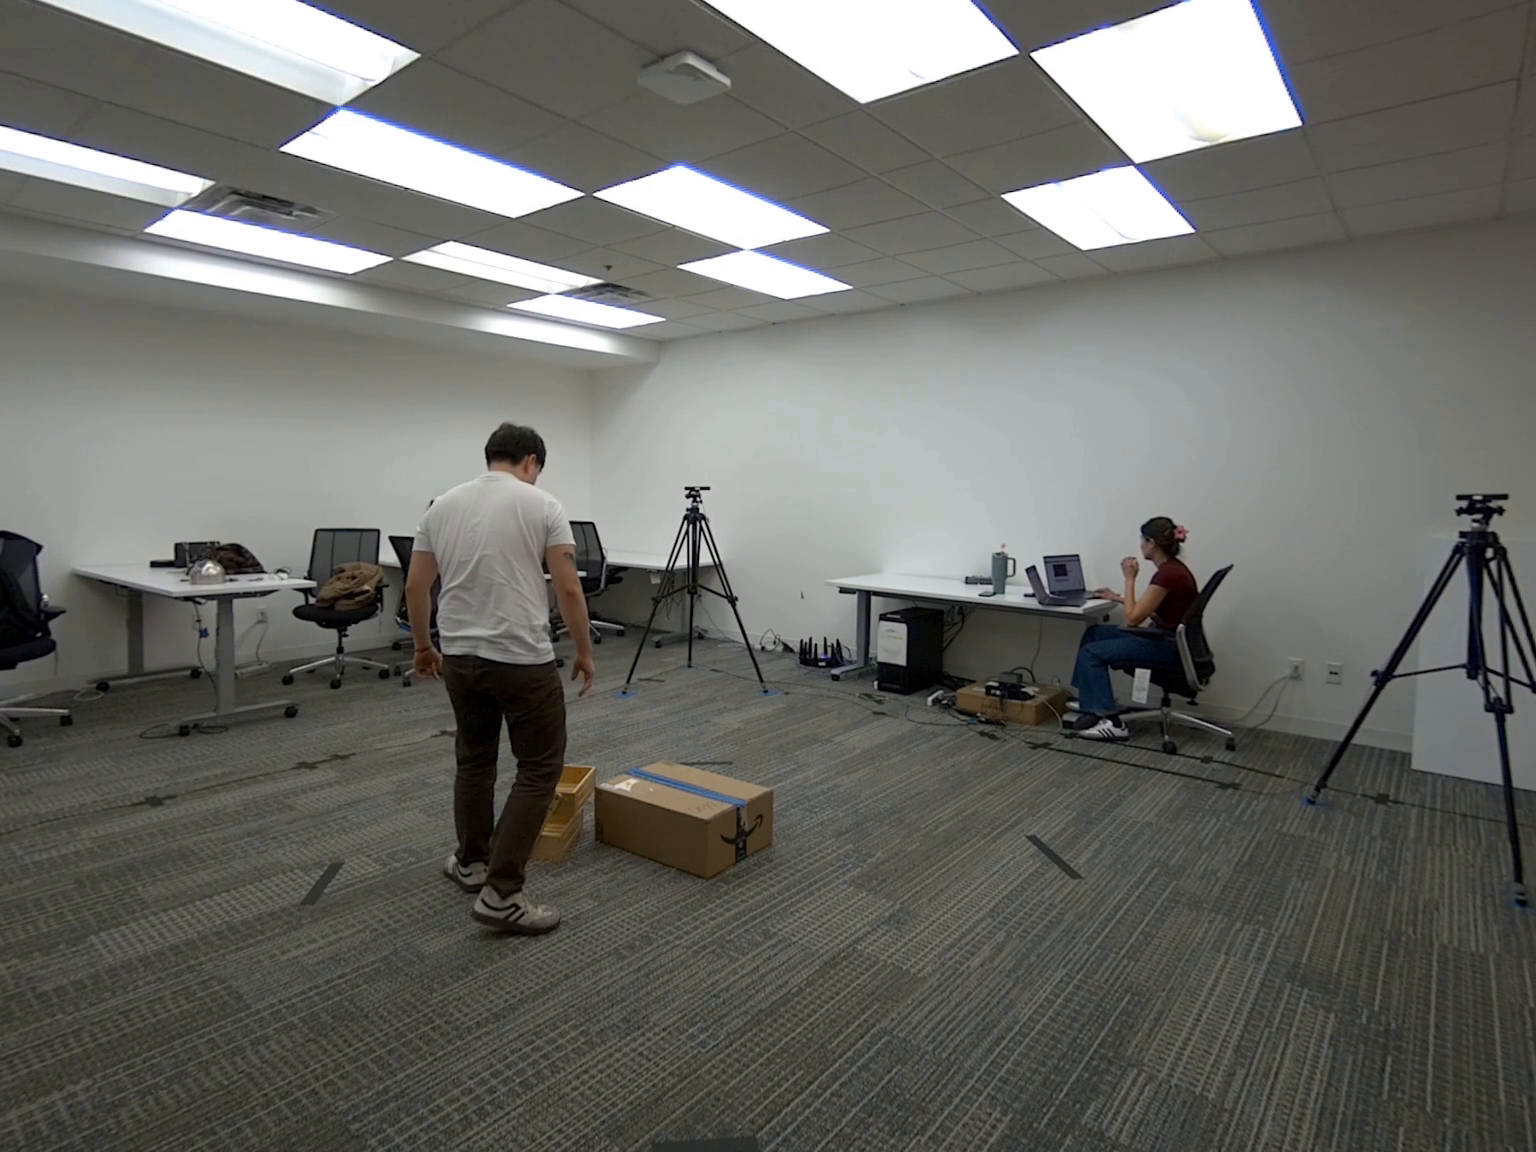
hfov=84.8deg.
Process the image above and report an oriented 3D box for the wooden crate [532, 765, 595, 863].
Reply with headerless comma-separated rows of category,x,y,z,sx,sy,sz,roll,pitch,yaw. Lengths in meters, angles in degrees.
wooden crate,-0.876,0.904,3.303,0.304,0.272,0.324,2,5,5
